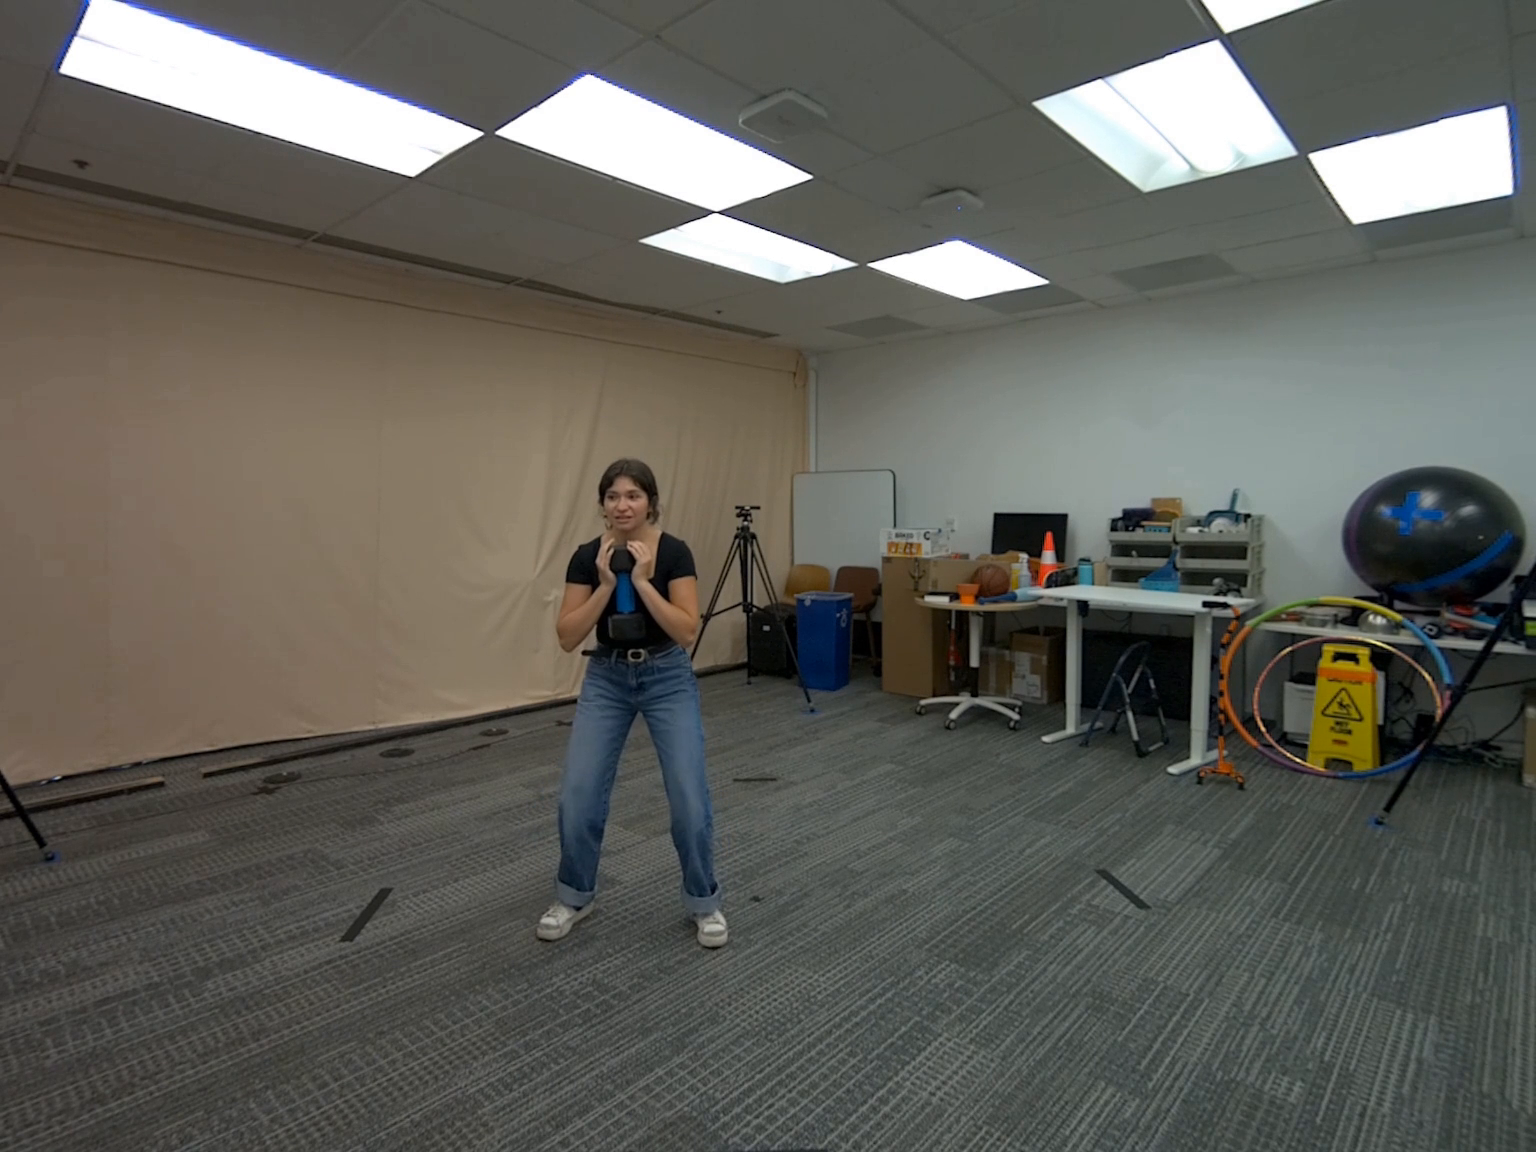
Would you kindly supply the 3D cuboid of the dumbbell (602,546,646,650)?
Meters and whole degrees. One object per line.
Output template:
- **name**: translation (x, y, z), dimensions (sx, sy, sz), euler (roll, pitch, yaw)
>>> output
- **dumbbell**: translation (-0.444, 0.062, 2.646), dimensions (0.111, 0.292, 0.121), euler (-2, 6, 18)
